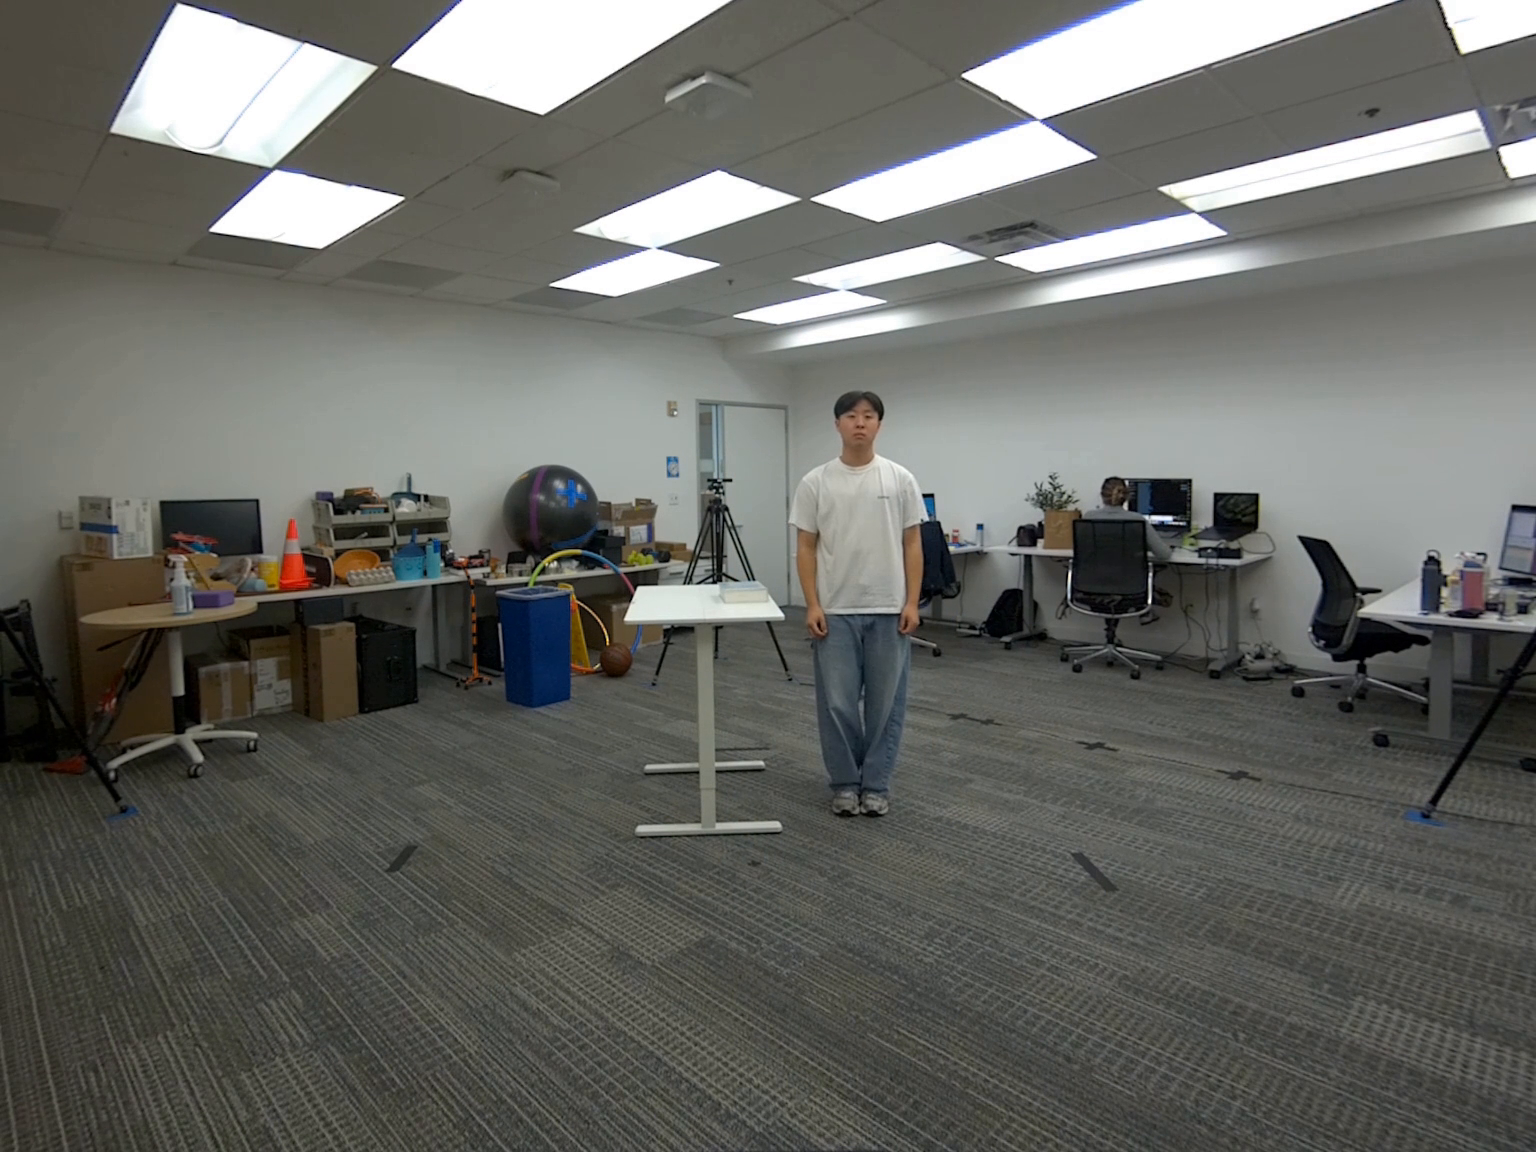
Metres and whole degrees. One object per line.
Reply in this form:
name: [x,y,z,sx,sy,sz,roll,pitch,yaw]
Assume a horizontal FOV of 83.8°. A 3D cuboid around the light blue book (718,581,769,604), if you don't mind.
light blue book: [-0.104,0.066,3.728,0.190,0.059,0.264,-2,7,-8]
